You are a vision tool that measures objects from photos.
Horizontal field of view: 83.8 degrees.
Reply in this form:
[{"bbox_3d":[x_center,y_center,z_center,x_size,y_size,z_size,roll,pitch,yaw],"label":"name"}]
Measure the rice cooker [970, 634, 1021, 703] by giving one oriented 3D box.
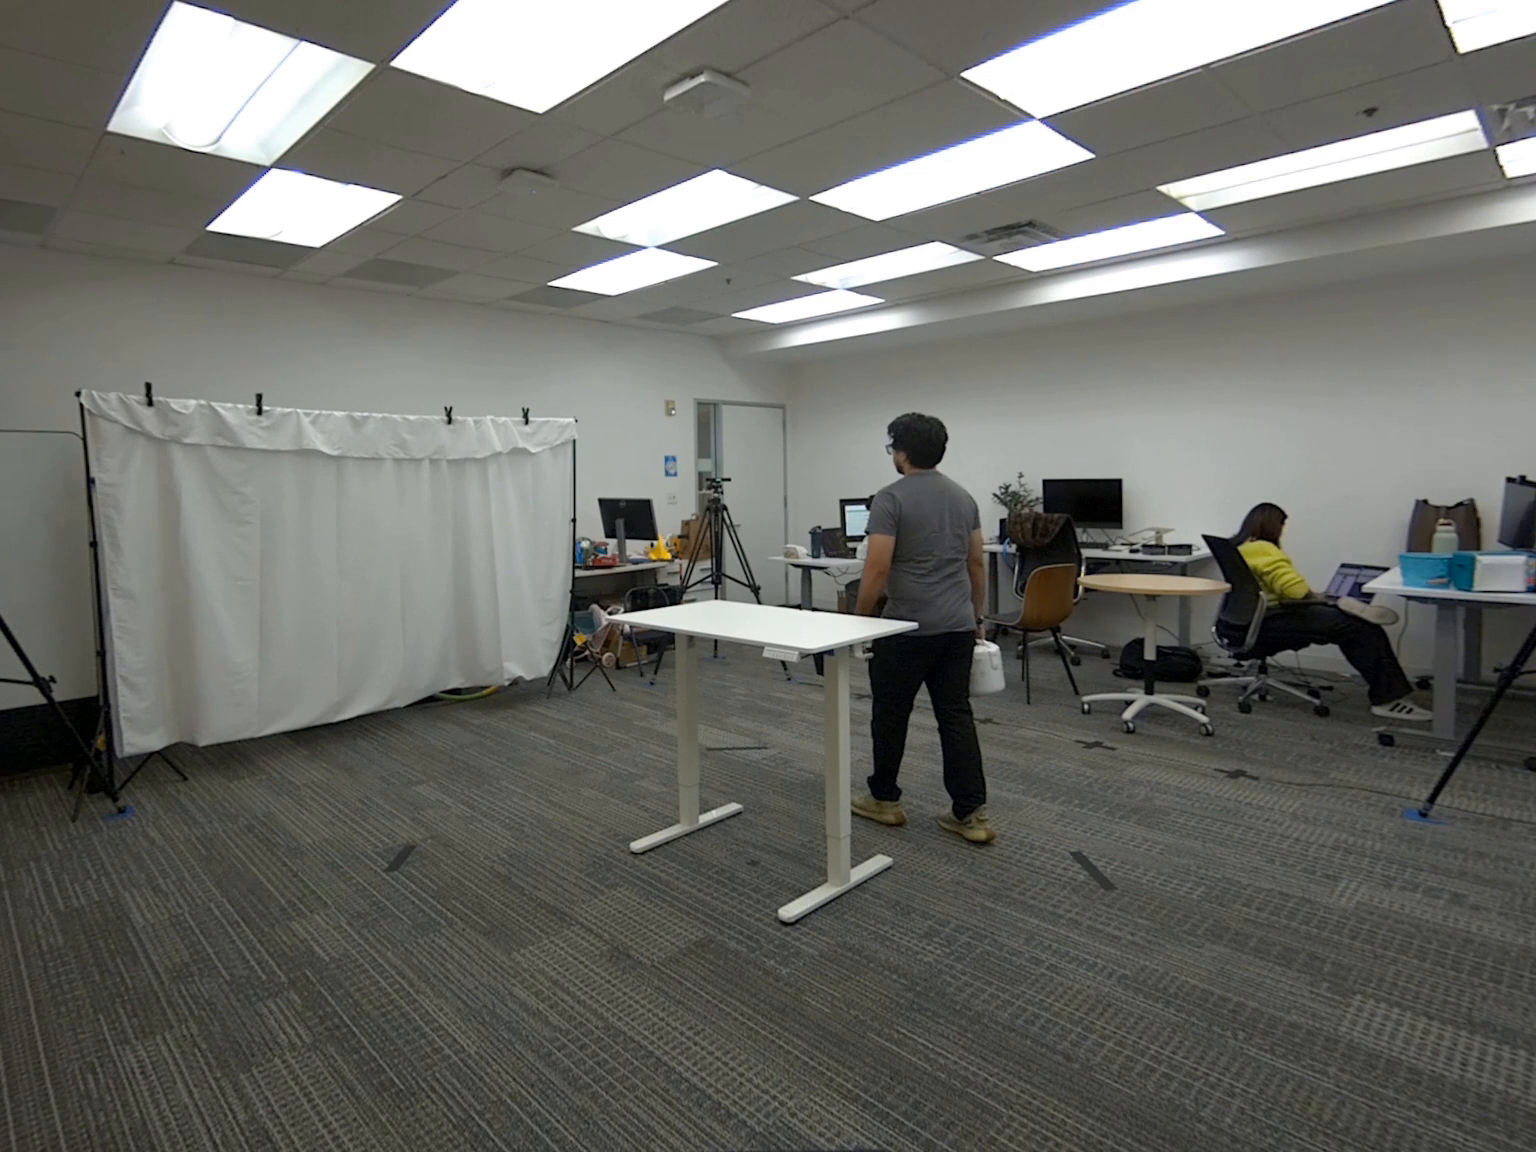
[{"bbox_3d":[0.873,0.378,3.581,0.212,0.233,0.225,-8,0,-32],"label":"rice cooker"}]
